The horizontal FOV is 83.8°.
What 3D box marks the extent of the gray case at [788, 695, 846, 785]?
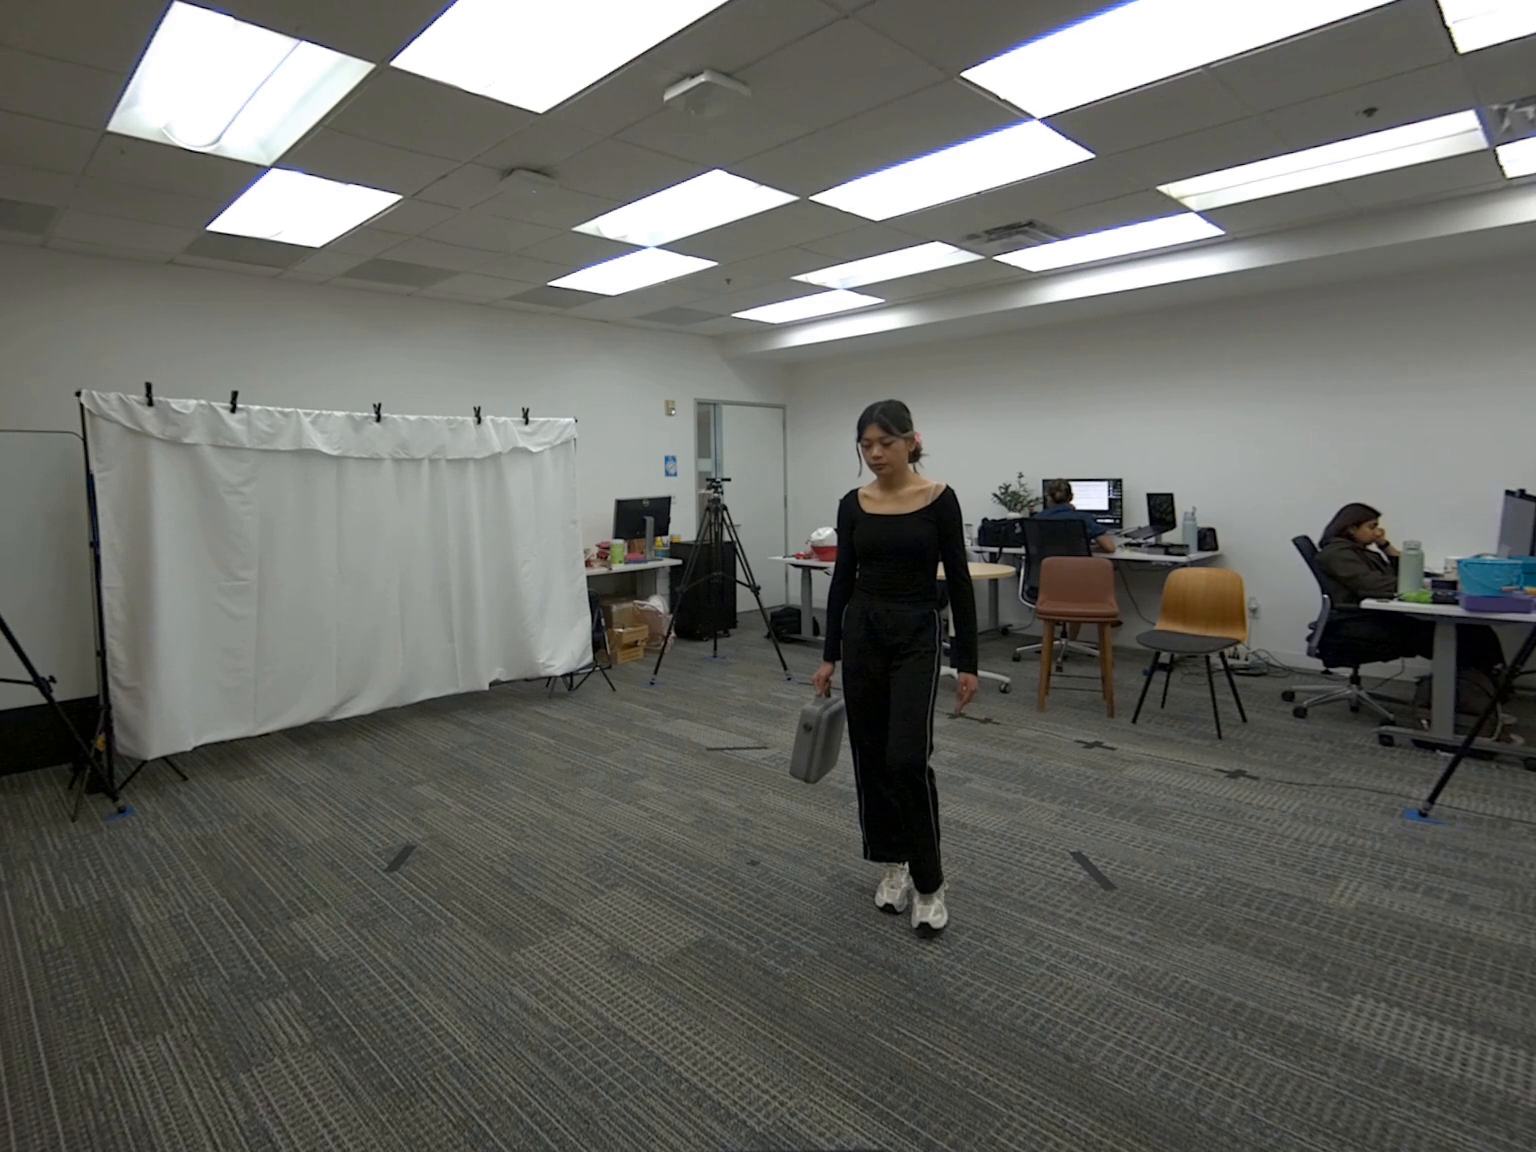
[{"bbox_3d":[0.183,0.538,2.872,0.106,0.260,0.252,8,5,19],"label":"gray case"}]
